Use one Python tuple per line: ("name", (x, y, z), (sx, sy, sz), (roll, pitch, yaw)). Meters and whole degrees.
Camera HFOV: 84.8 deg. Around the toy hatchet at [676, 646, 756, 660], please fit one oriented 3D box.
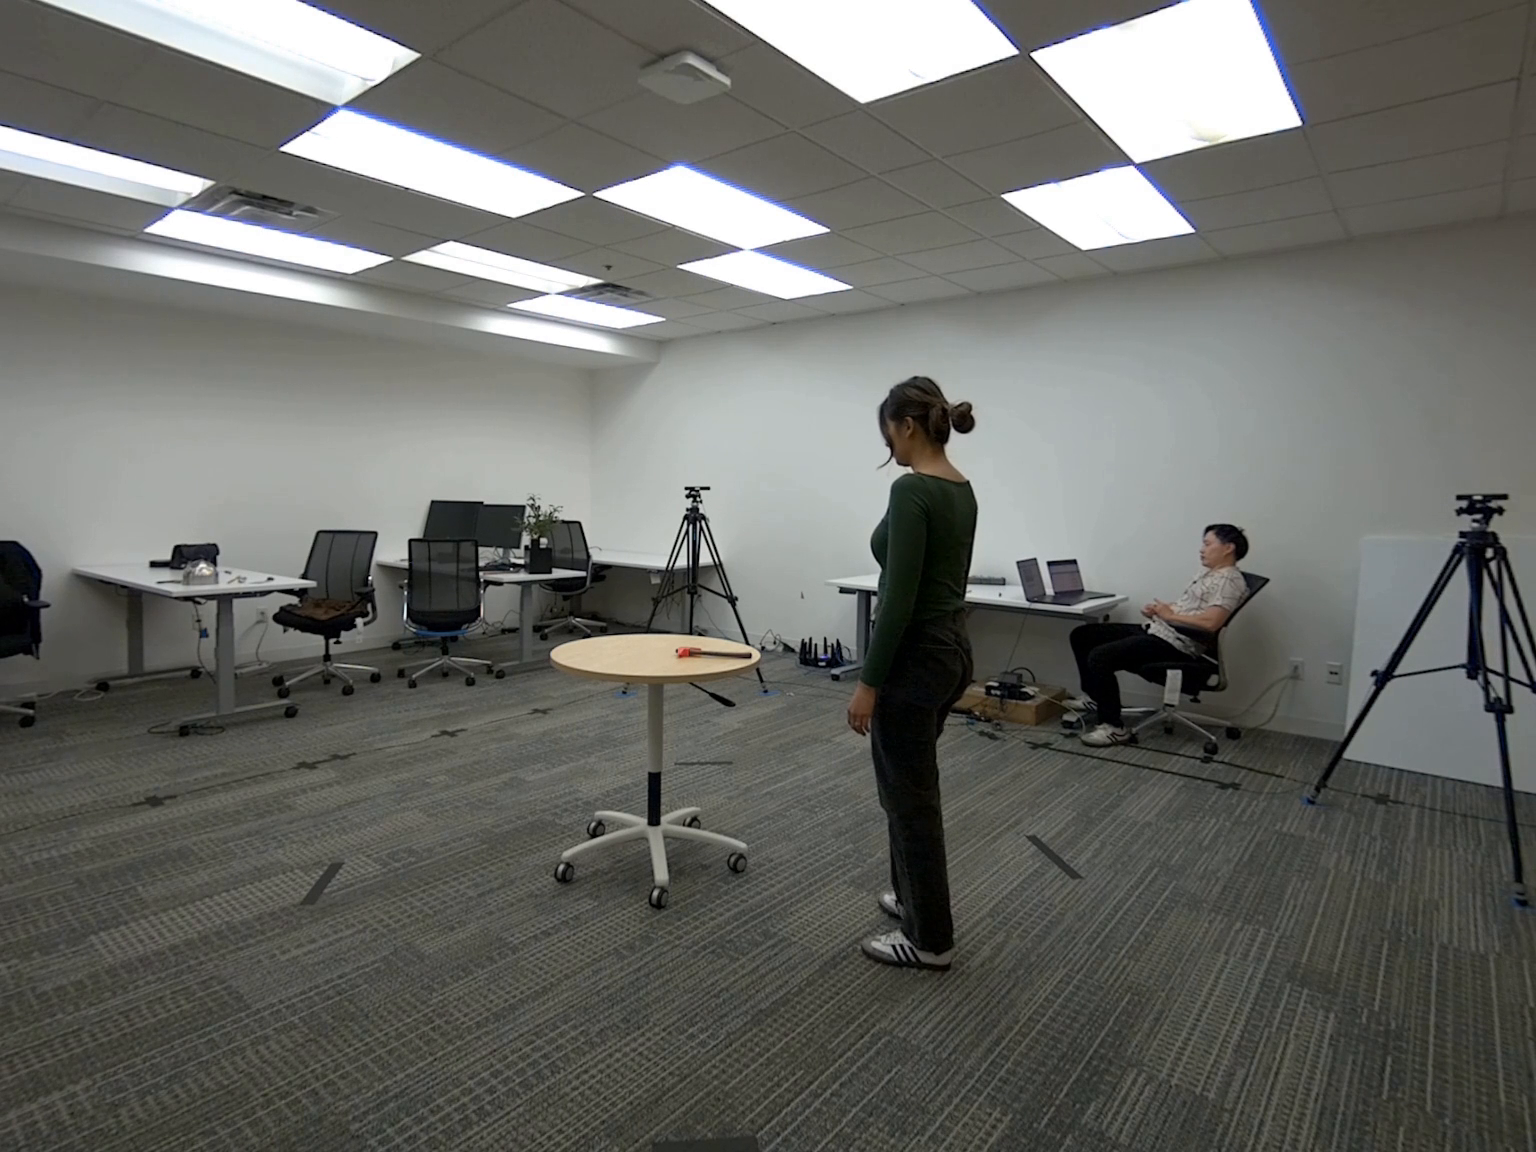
("toy hatchet", (-0.204, 0.275, 3.084), (0.268, 0.029, 0.132), (2, 3, -7))
